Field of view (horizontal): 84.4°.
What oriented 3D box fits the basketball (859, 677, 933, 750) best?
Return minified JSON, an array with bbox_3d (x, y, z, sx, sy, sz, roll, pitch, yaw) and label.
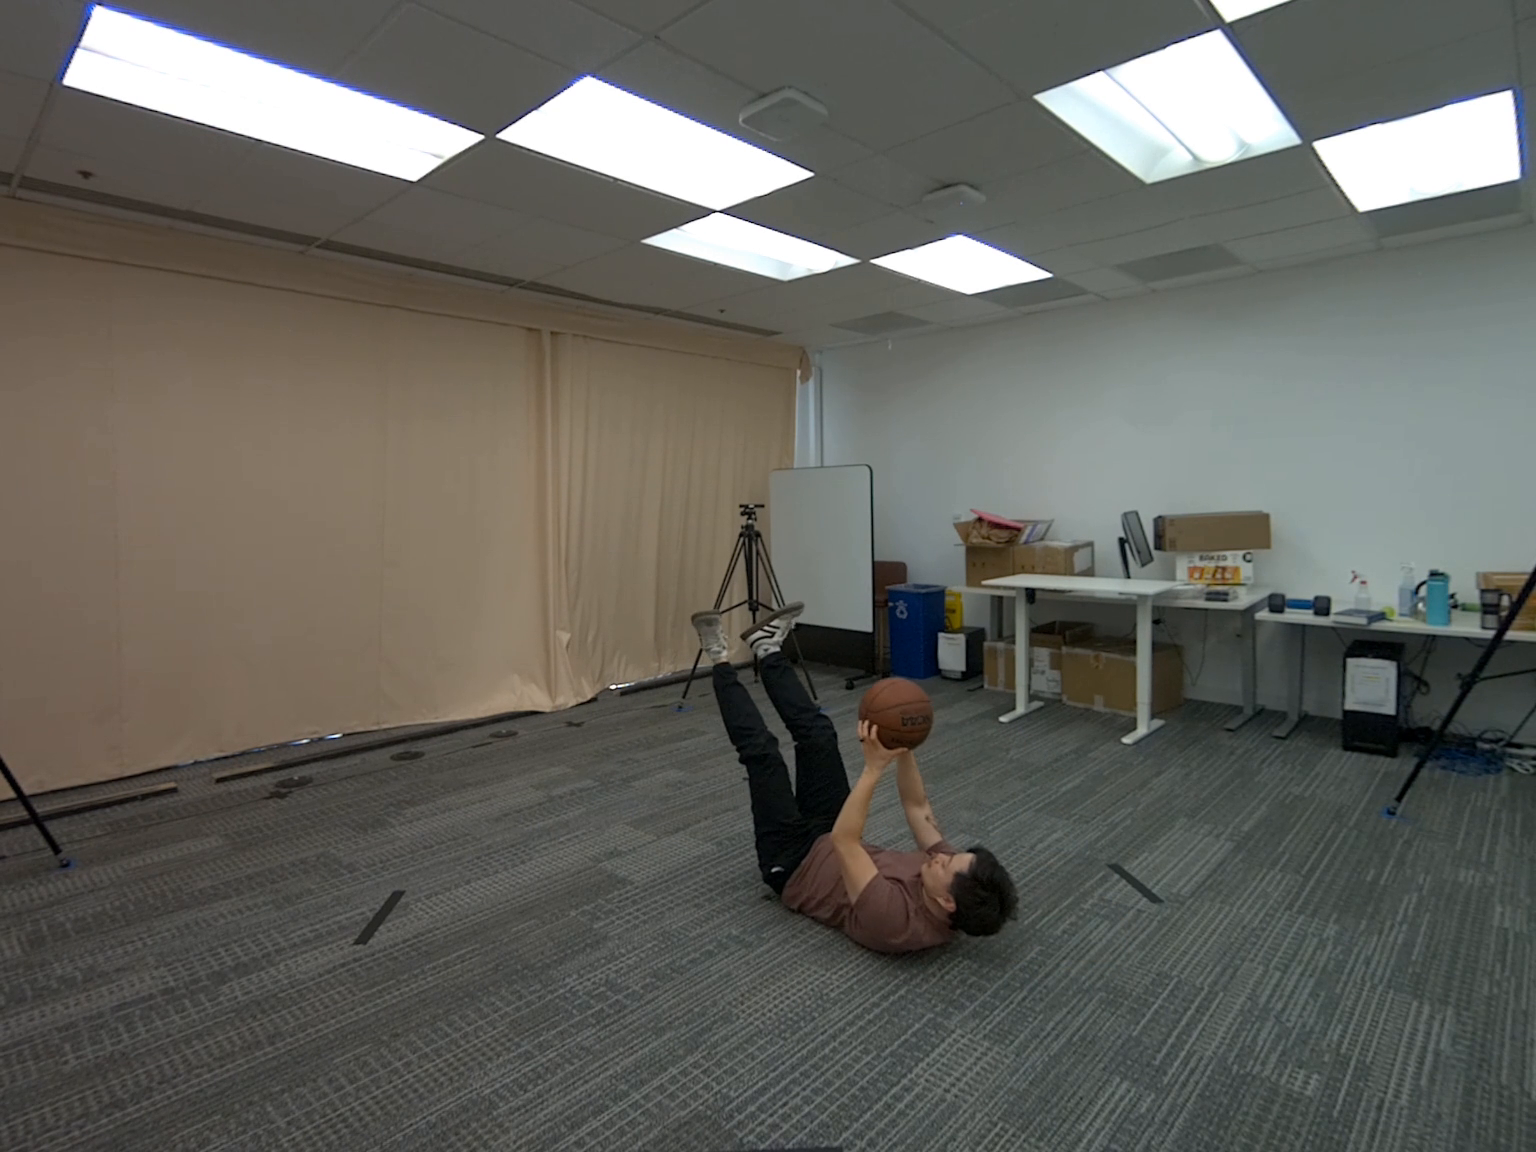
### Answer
[{"bbox_3d":[0.414,0.452,2.698,0.236,0.235,0.236,-1,3,-2],"label":"basketball"}]
